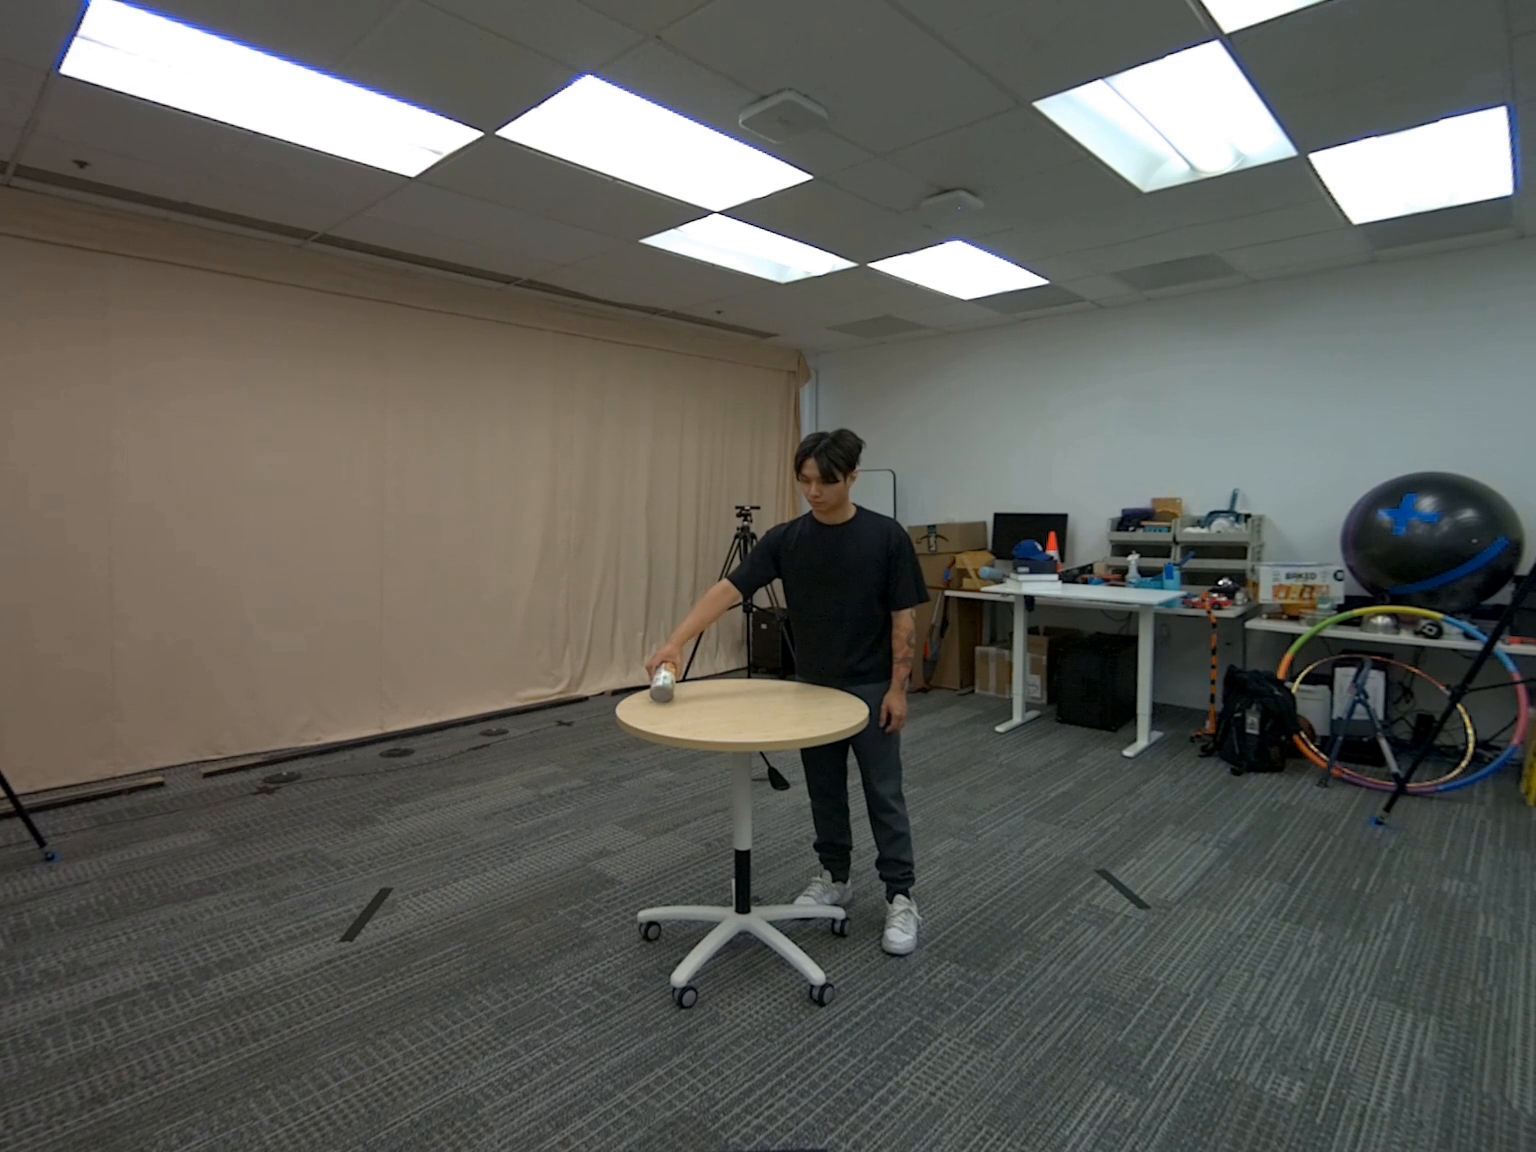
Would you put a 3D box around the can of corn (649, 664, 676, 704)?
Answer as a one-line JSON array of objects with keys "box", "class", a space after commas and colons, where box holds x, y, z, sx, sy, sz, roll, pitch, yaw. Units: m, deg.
[{"box": [-0.321, 0.336, 2.635, 0.075, 0.072, 0.112, 0, 40, 7], "class": "can of corn"}]
